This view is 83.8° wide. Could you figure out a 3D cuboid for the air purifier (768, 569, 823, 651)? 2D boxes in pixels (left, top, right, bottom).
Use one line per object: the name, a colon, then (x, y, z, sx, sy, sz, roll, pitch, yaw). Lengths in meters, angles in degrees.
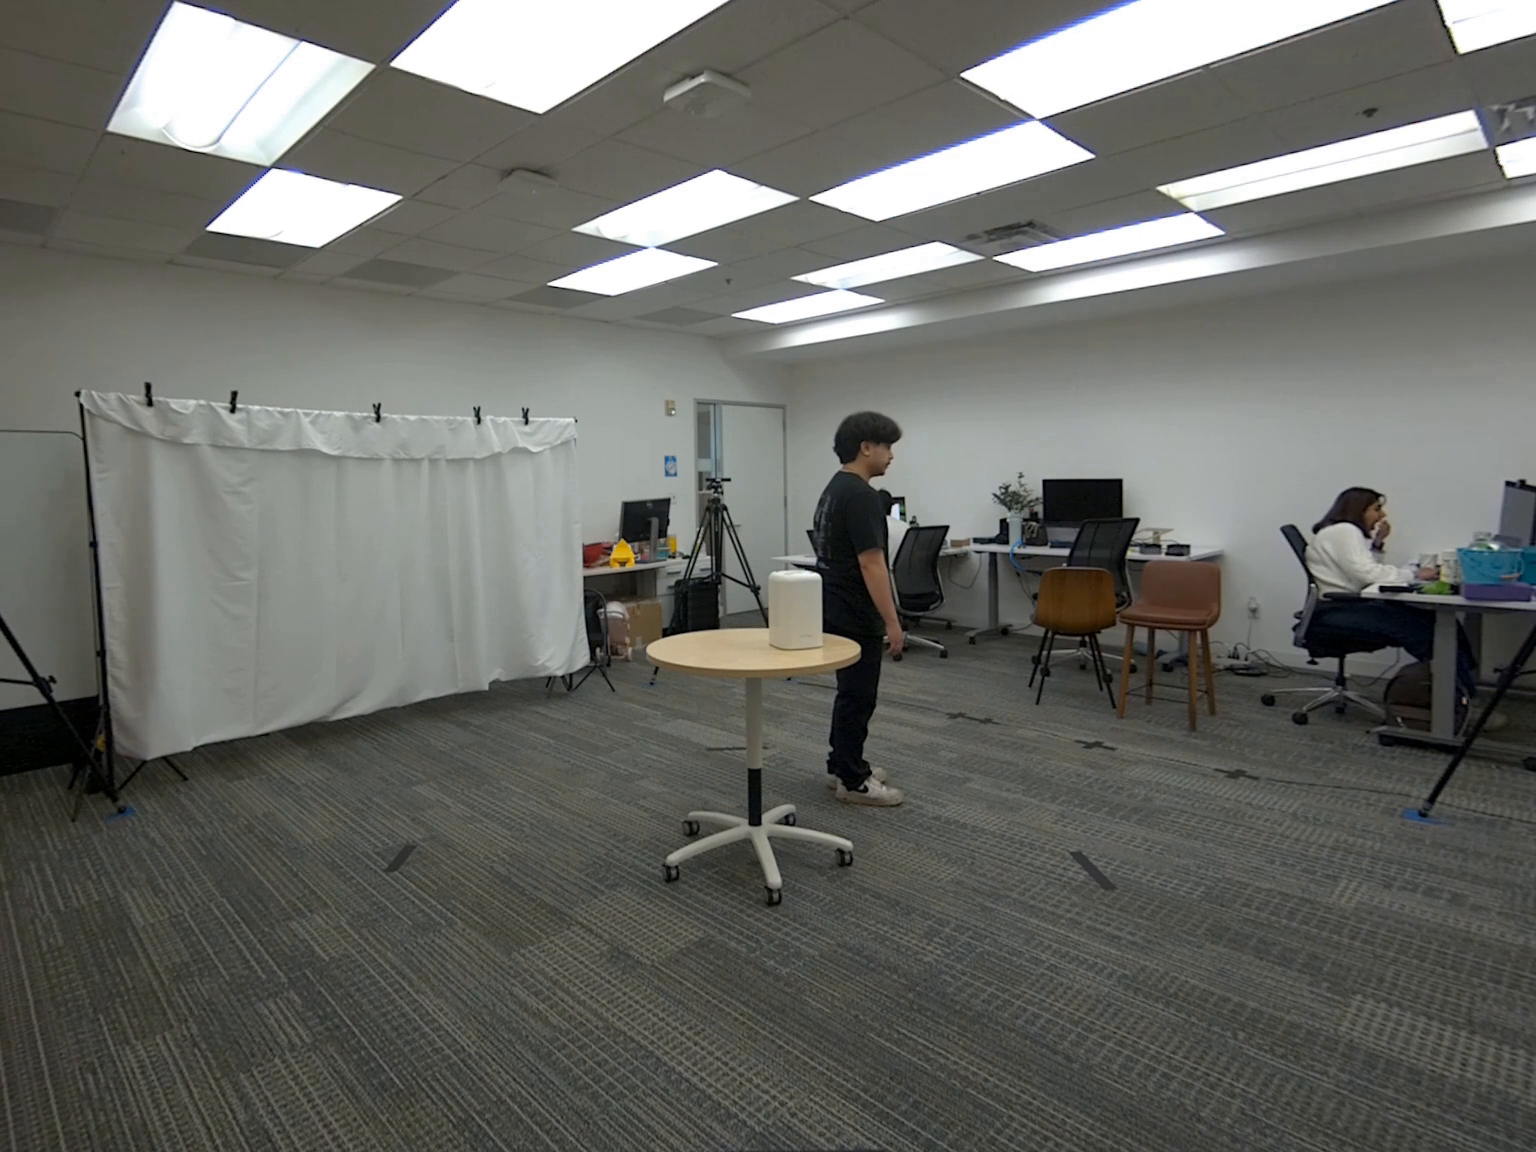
air purifier: (0.106, 0.117, 3.069, 0.168, 0.265, 0.175, -1, 4, -22)
